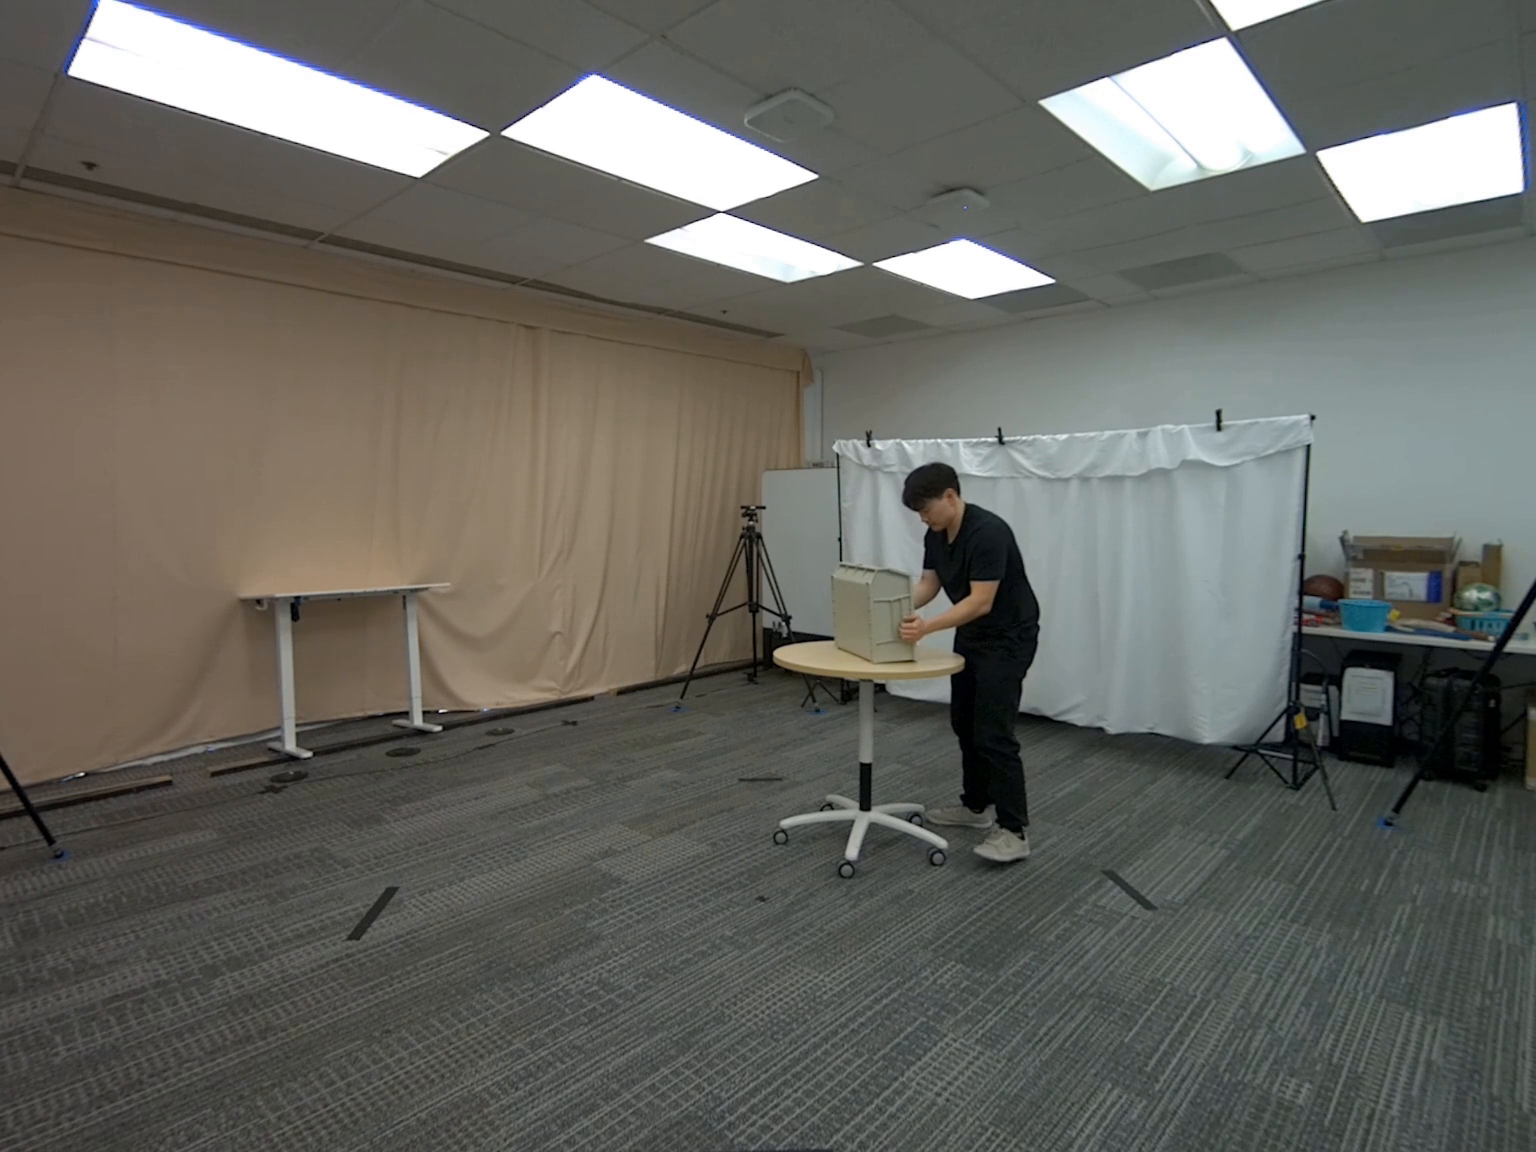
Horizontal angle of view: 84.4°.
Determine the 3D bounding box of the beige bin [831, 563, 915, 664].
[{"bbox_3d":[0.424,0.140,3.427,0.186,0.376,0.430,-5,5,-17],"label":"beige bin"}]
